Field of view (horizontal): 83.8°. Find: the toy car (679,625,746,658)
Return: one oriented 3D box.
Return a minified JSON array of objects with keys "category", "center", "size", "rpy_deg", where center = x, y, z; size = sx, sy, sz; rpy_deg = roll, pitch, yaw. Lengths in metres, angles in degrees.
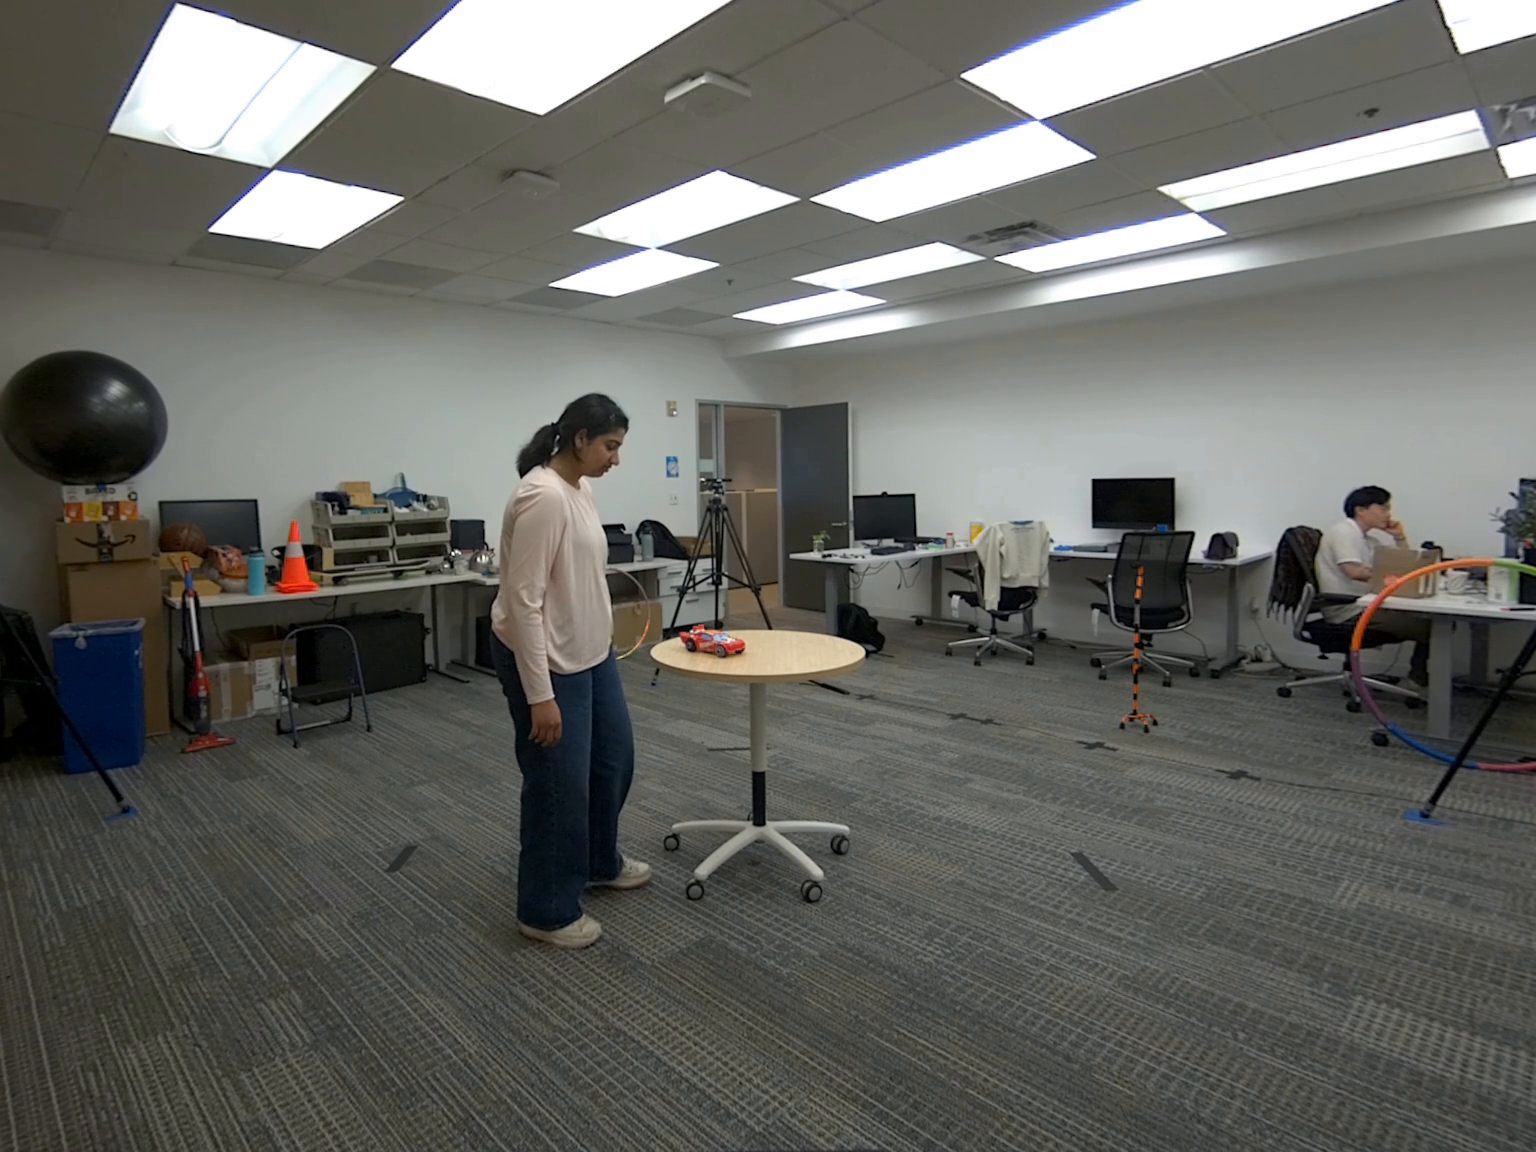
[{"category":"toy car","center":[-0.198,0.237,3.044],"size":[0.264,0.082,0.127],"rpy_deg":[19,16,39]}]
